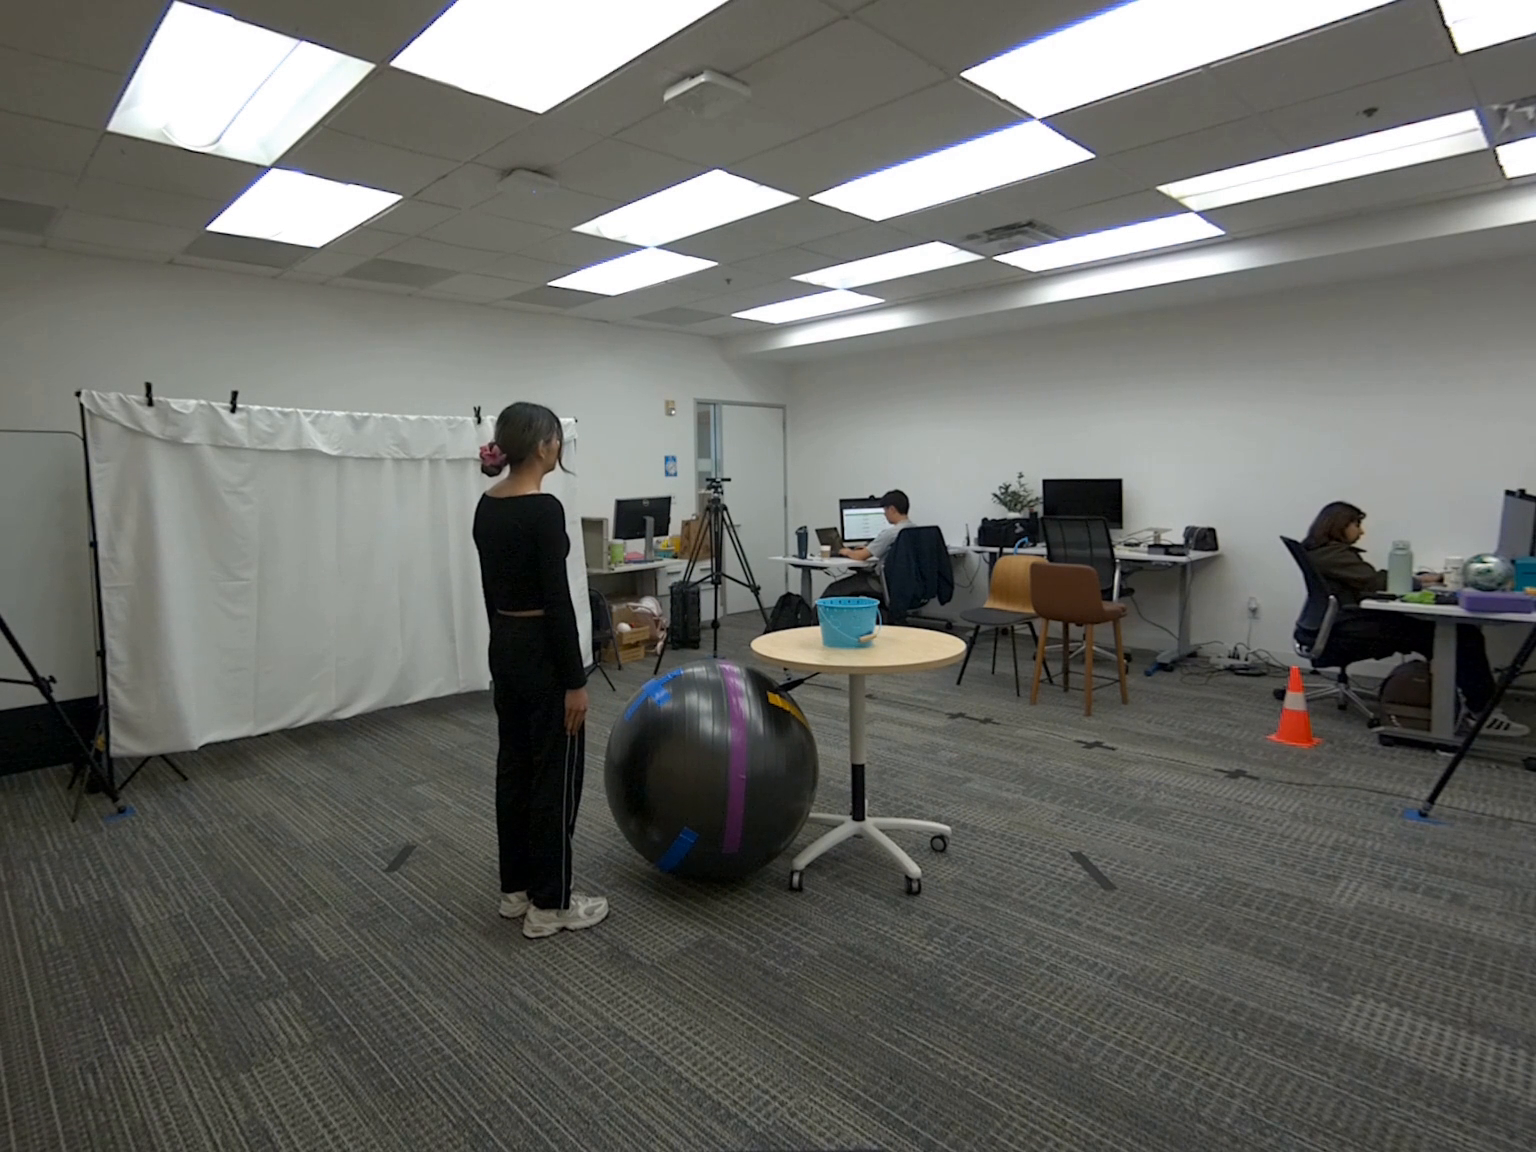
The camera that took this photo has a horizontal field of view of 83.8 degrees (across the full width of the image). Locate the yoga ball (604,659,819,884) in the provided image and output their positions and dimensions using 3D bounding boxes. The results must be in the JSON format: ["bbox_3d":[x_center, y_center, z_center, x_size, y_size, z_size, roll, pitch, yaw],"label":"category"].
[{"bbox_3d":[-0.208,0.692,3.035,0.757,0.755,0.762,-1,5,-2],"label":"yoga ball"}]
